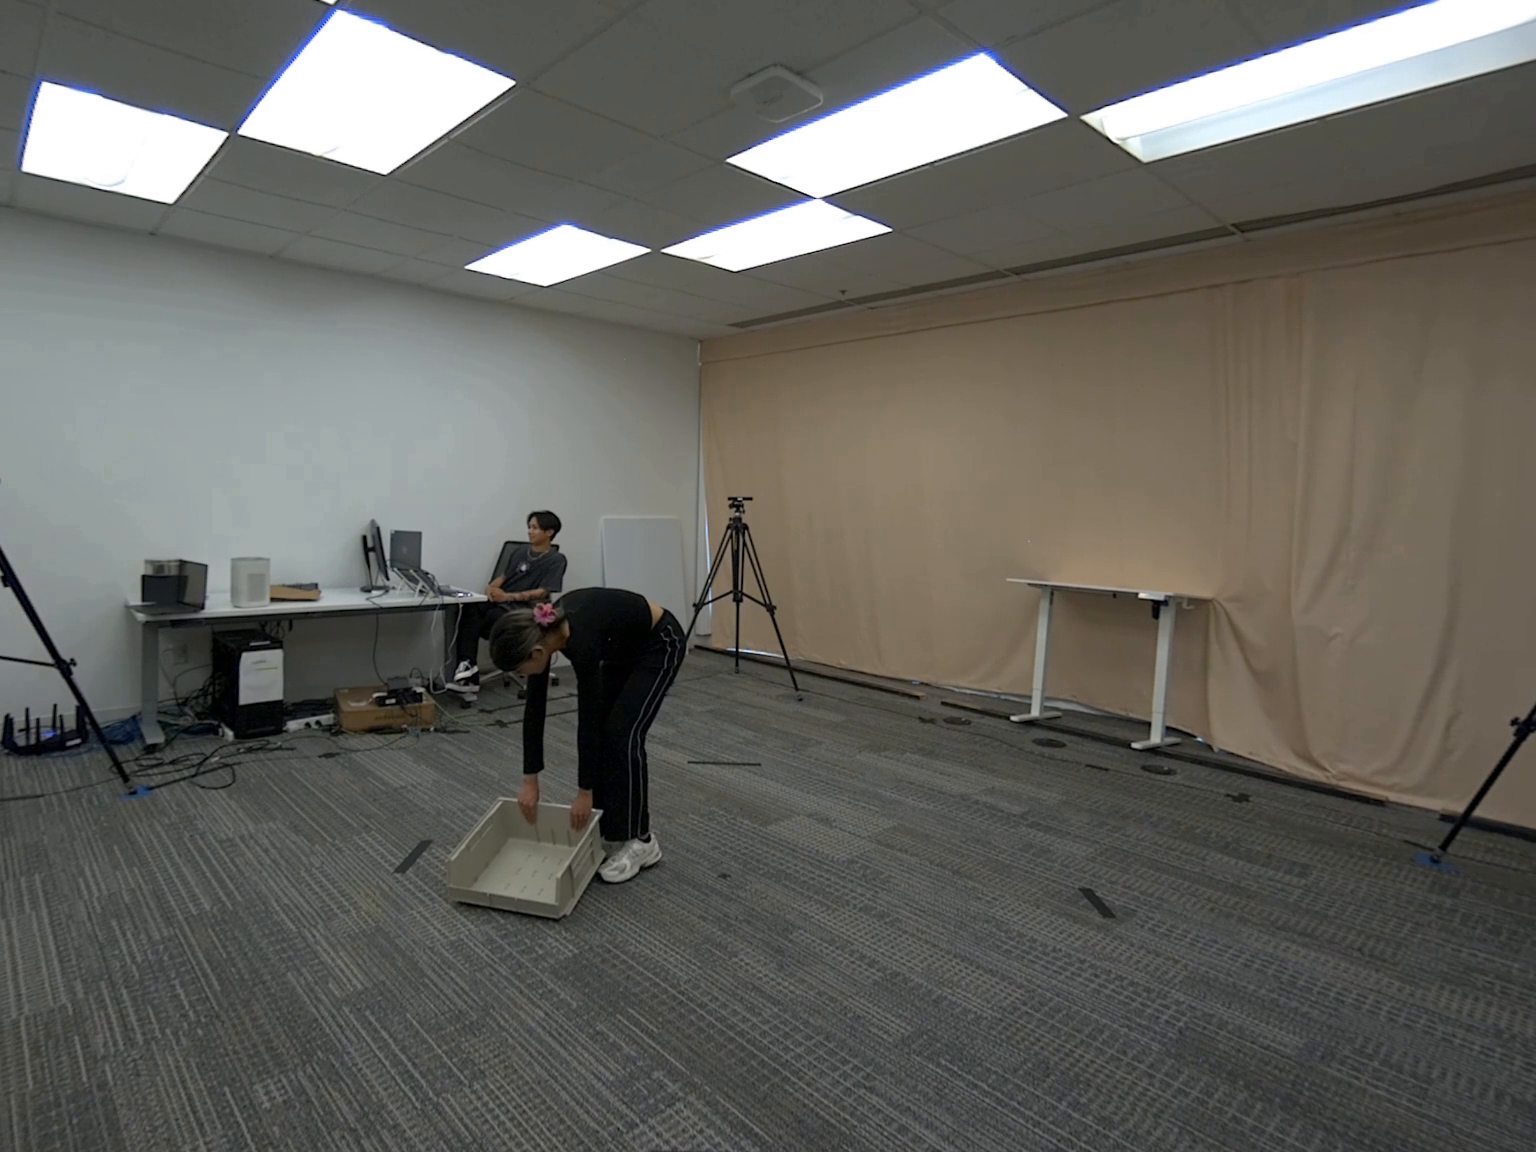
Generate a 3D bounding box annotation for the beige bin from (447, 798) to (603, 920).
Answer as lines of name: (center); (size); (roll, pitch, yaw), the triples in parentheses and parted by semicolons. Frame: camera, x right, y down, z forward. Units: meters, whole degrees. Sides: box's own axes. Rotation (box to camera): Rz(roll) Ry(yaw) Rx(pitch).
beige bin: (-0.839, 0.981, 2.922); (0.426, 0.187, 0.378); (0, 16, 12)
